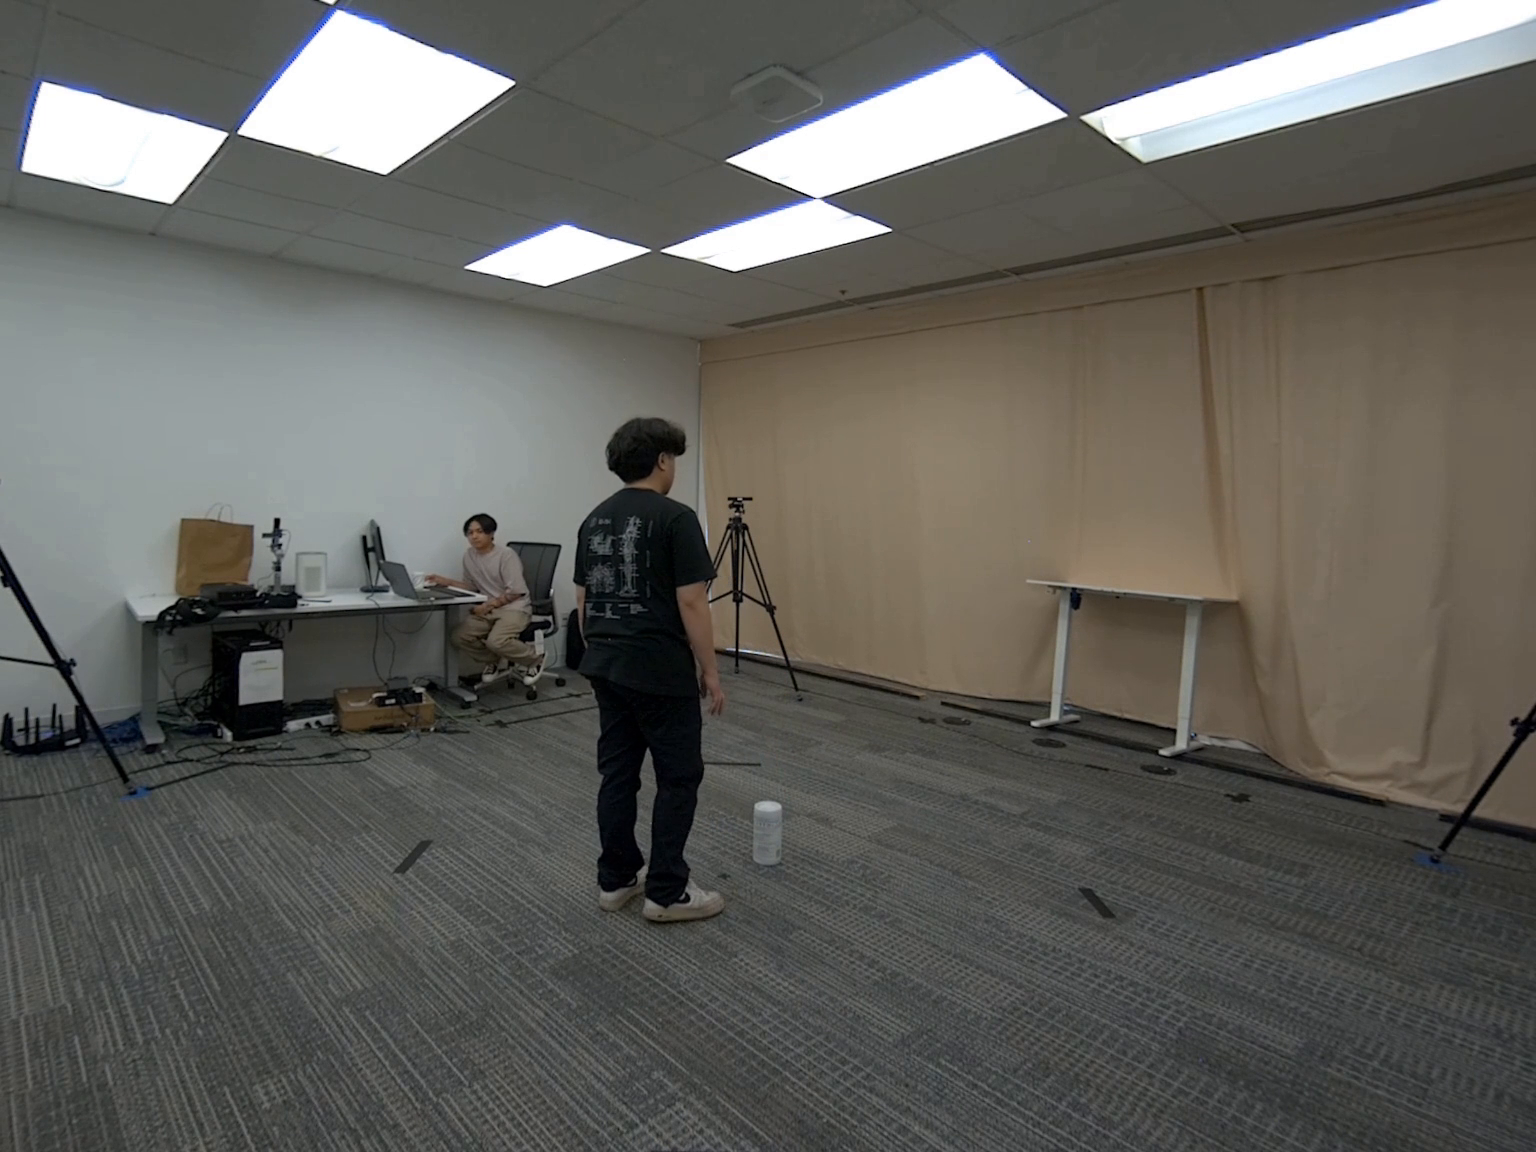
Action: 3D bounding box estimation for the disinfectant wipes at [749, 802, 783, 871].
[{"bbox_3d":[-0.011,0.995,3.246,0.118,0.217,0.118,2,2,-1],"label":"disinfectant wipes"}]
